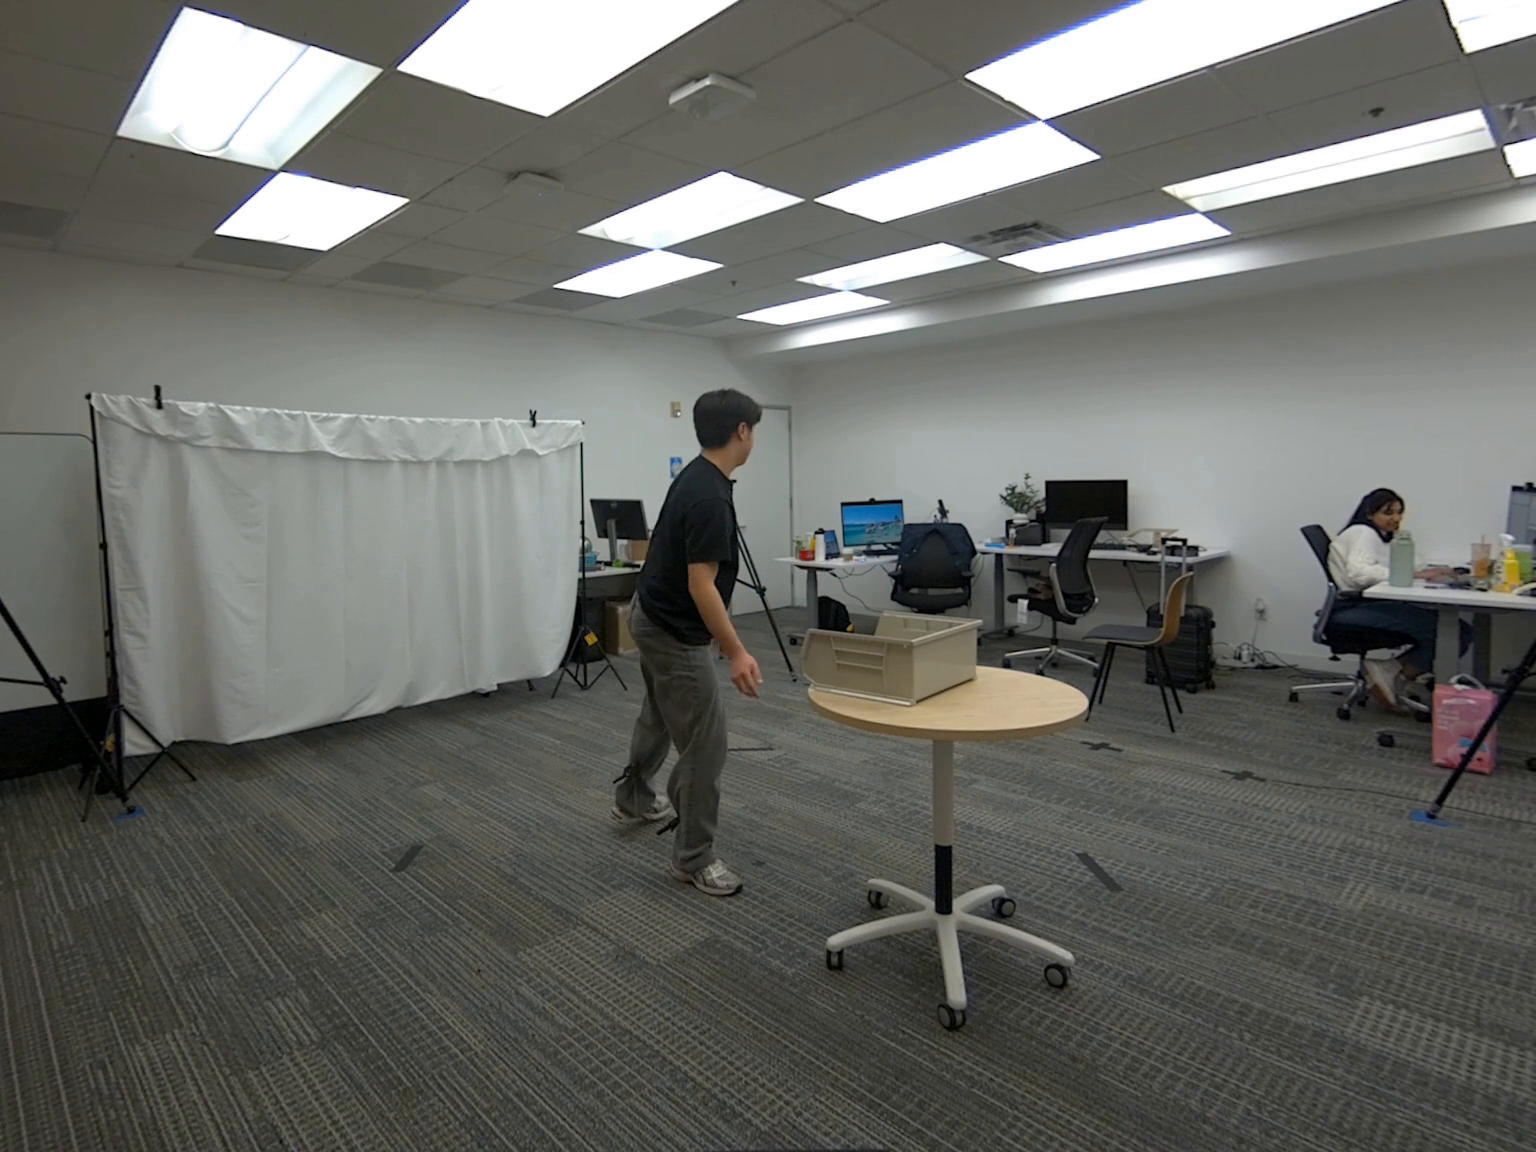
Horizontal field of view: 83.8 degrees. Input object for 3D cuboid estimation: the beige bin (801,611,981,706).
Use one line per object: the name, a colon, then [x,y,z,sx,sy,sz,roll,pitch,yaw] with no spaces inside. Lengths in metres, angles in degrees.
beige bin: [0.369,0.234,2.534,0.389,0.188,0.411,5,8,40]
